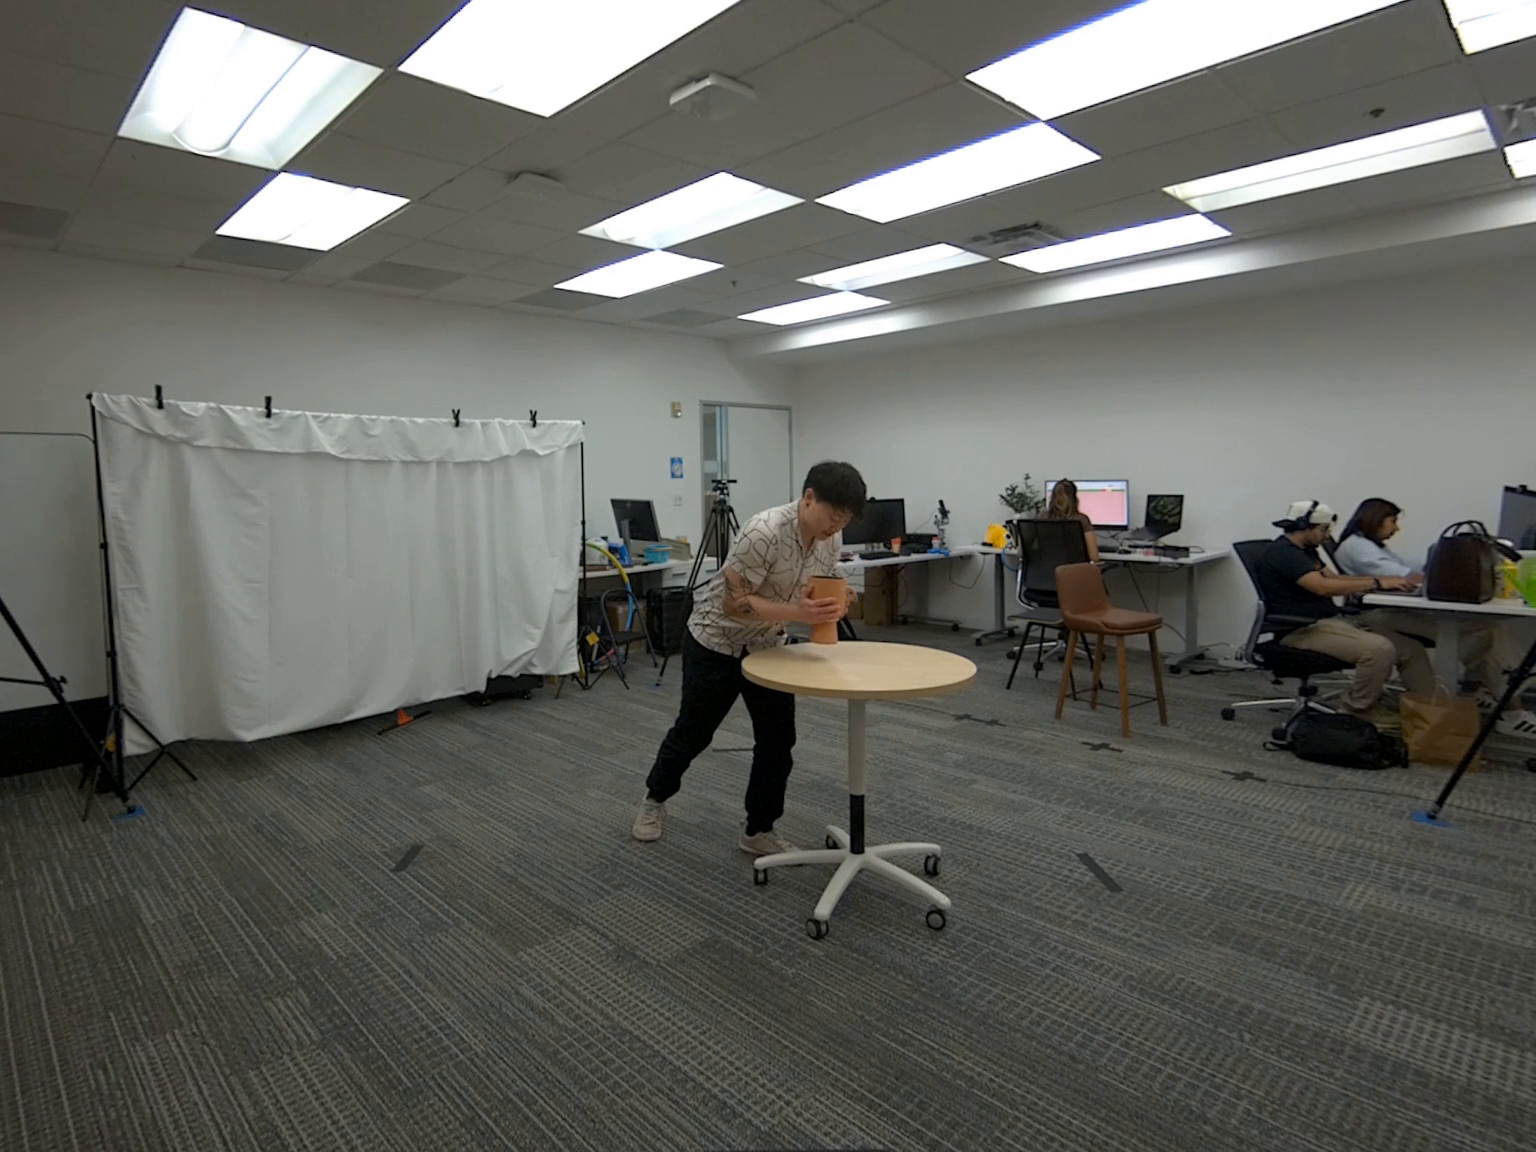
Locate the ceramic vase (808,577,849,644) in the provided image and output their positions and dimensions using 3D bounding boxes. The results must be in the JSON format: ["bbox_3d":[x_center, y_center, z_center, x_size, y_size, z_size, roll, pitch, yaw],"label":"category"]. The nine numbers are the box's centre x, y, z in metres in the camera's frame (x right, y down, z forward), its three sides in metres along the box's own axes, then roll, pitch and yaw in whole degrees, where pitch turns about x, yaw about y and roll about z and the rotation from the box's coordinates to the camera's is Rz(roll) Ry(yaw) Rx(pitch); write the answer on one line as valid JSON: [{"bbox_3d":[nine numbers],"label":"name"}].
[{"bbox_3d":[0.187,0.118,2.886,0.131,0.219,0.164,0,5,-38],"label":"ceramic vase"}]
